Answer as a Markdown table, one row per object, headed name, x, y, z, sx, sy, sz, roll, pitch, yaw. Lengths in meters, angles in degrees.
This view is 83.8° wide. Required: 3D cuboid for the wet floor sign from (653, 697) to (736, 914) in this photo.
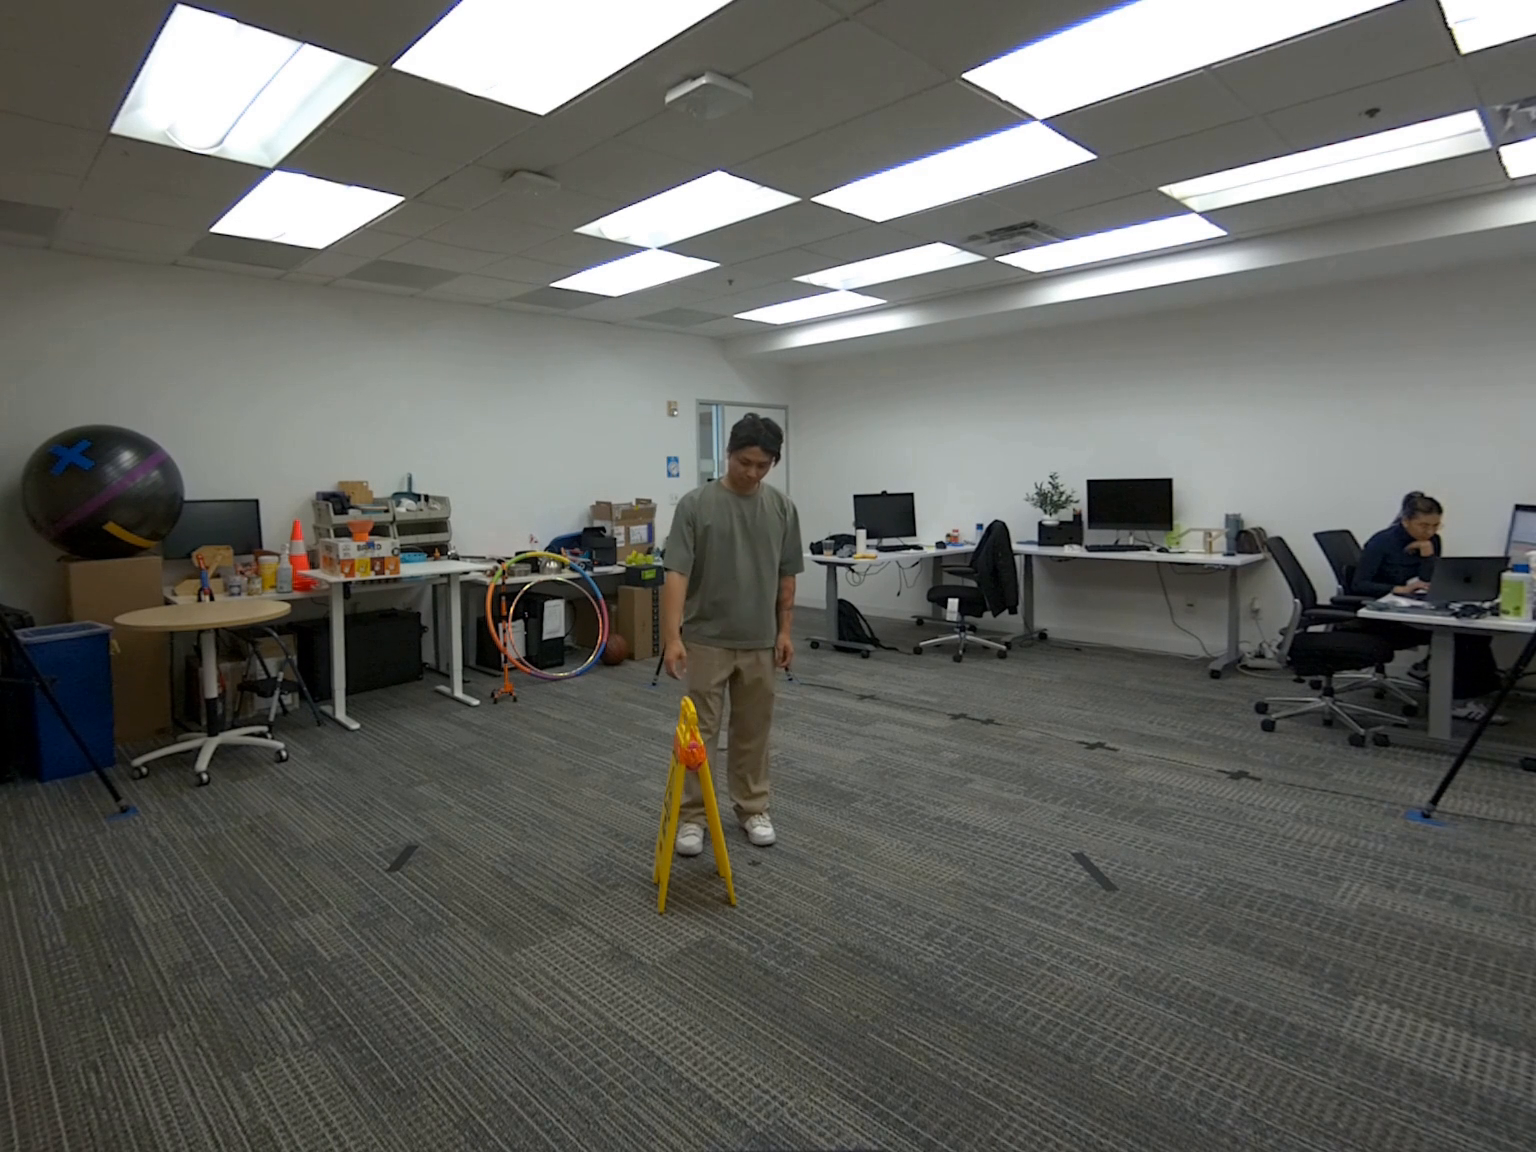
| name | x | y | z | sx | sy | sz | roll | pitch | yaw |
| --- | --- | --- | --- | --- | --- | --- | --- | --- | --- |
| wet floor sign | -0.260 | 0.751 | 2.883 | 0.287 | 0.643 | 0.286 | -2 | 5 | -9 |
